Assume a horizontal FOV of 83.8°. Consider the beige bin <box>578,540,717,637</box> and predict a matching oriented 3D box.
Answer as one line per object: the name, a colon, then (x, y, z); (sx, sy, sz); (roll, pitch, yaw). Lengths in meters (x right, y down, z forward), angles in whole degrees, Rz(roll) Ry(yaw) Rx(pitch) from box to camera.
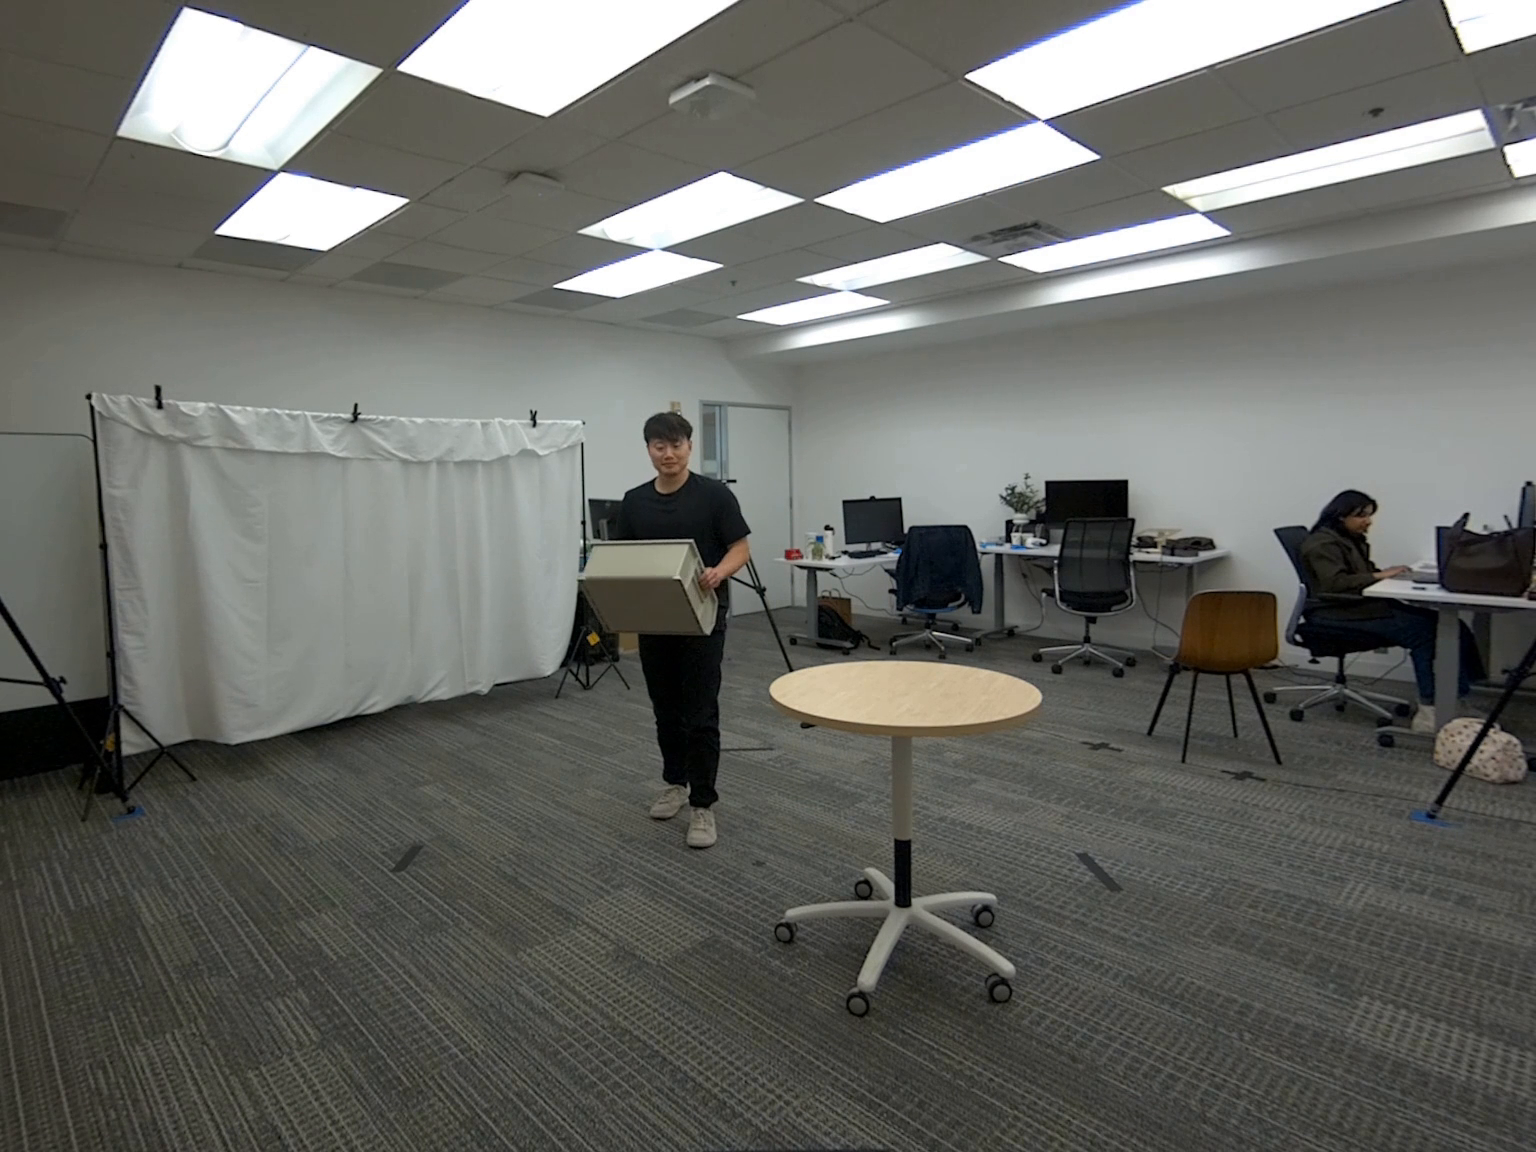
beige bin: (-0.451, 0.067, 3.211); (0.430, 0.364, 0.192); (0, 47, 19)
